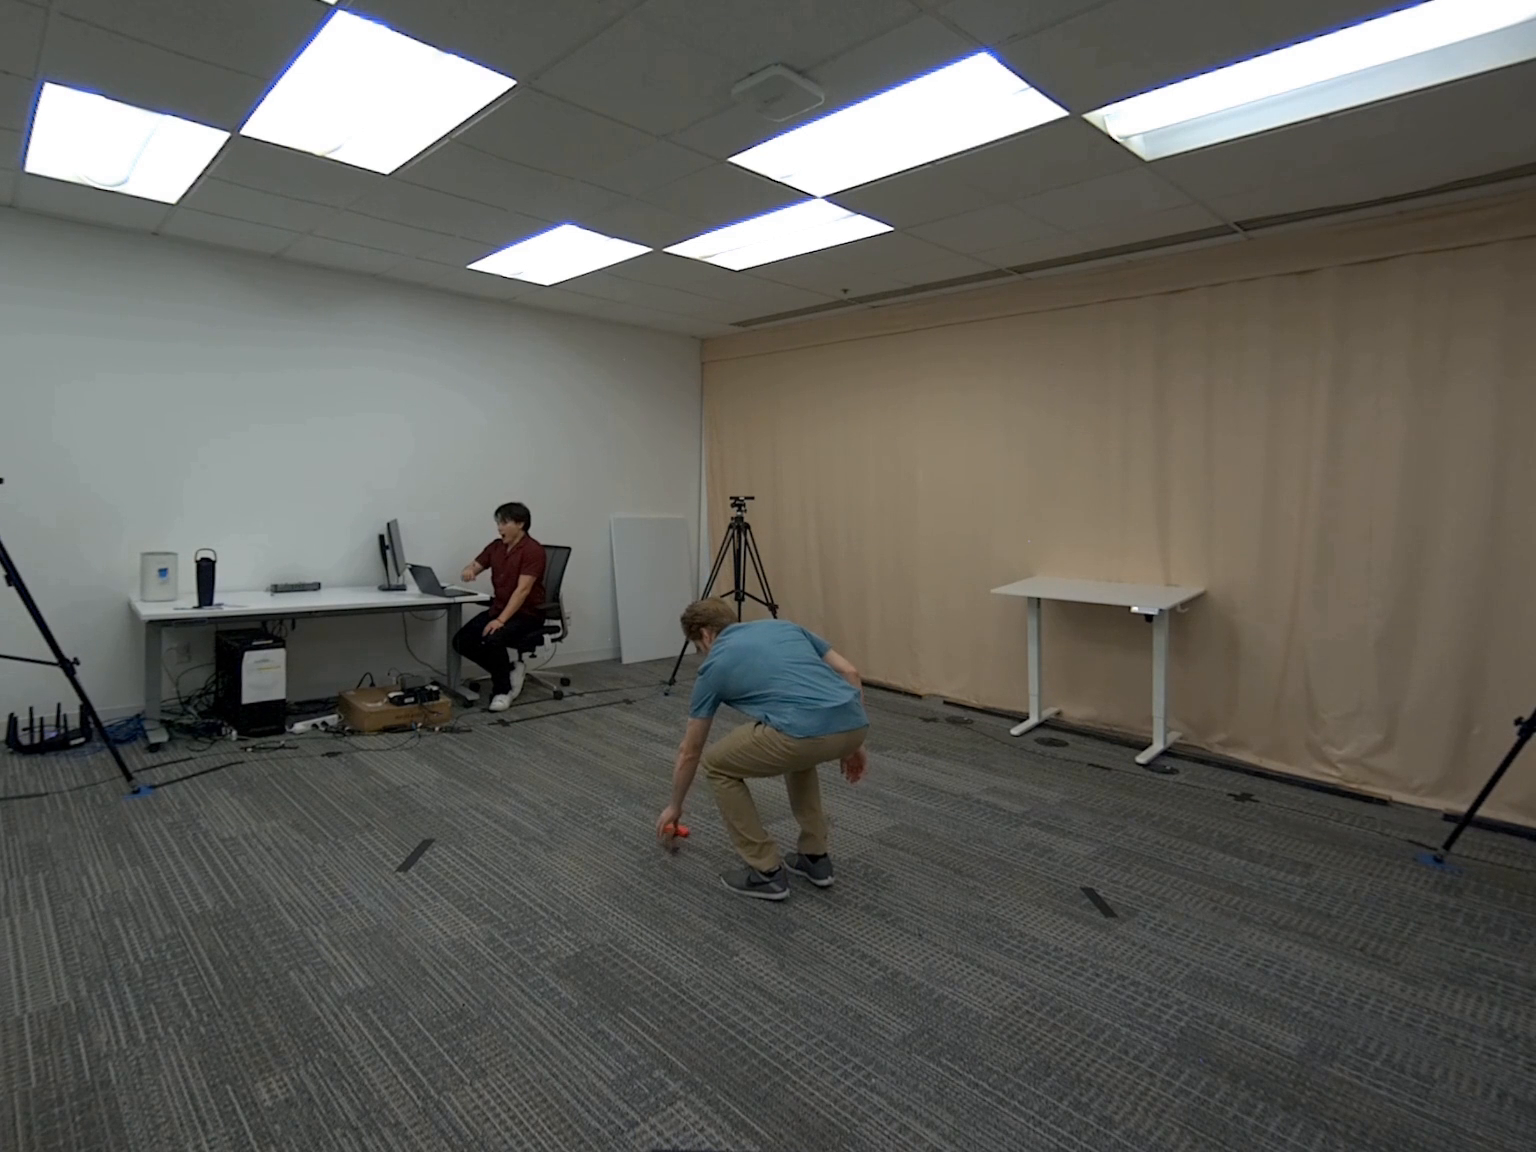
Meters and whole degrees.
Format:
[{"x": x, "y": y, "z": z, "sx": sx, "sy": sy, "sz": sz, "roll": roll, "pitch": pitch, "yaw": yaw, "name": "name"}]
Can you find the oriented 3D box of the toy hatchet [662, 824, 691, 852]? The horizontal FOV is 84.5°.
[{"x": -0.364, "y": 1.051, "z": 3.388, "sx": 0.129, "sy": 0.029, "sz": 0.273, "roll": 3, "pitch": 1, "yaw": -17, "name": "toy hatchet"}]
